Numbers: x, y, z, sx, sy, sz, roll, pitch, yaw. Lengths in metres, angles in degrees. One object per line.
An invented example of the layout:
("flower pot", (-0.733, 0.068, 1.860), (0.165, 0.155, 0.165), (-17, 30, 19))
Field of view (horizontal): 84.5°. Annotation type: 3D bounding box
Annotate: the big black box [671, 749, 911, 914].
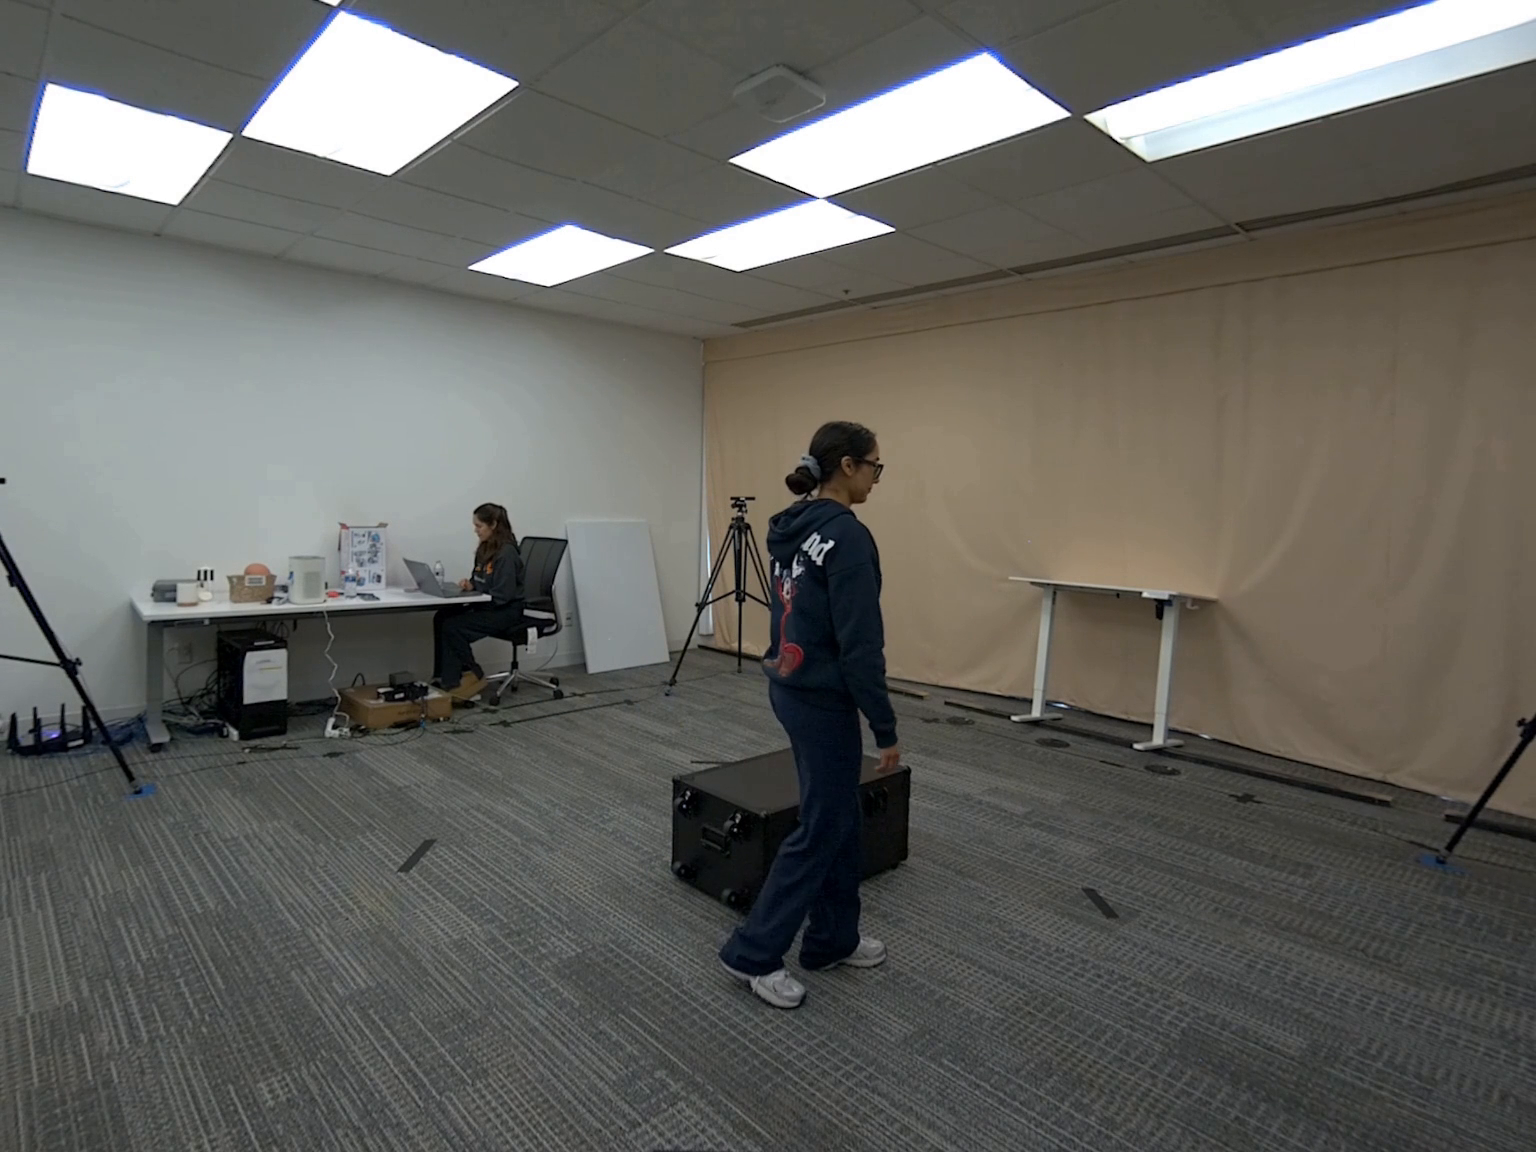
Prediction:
("big black box", (0.066, 0.918, 3.125), (0.842, 0.395, 0.534), (-3, 6, -44))
